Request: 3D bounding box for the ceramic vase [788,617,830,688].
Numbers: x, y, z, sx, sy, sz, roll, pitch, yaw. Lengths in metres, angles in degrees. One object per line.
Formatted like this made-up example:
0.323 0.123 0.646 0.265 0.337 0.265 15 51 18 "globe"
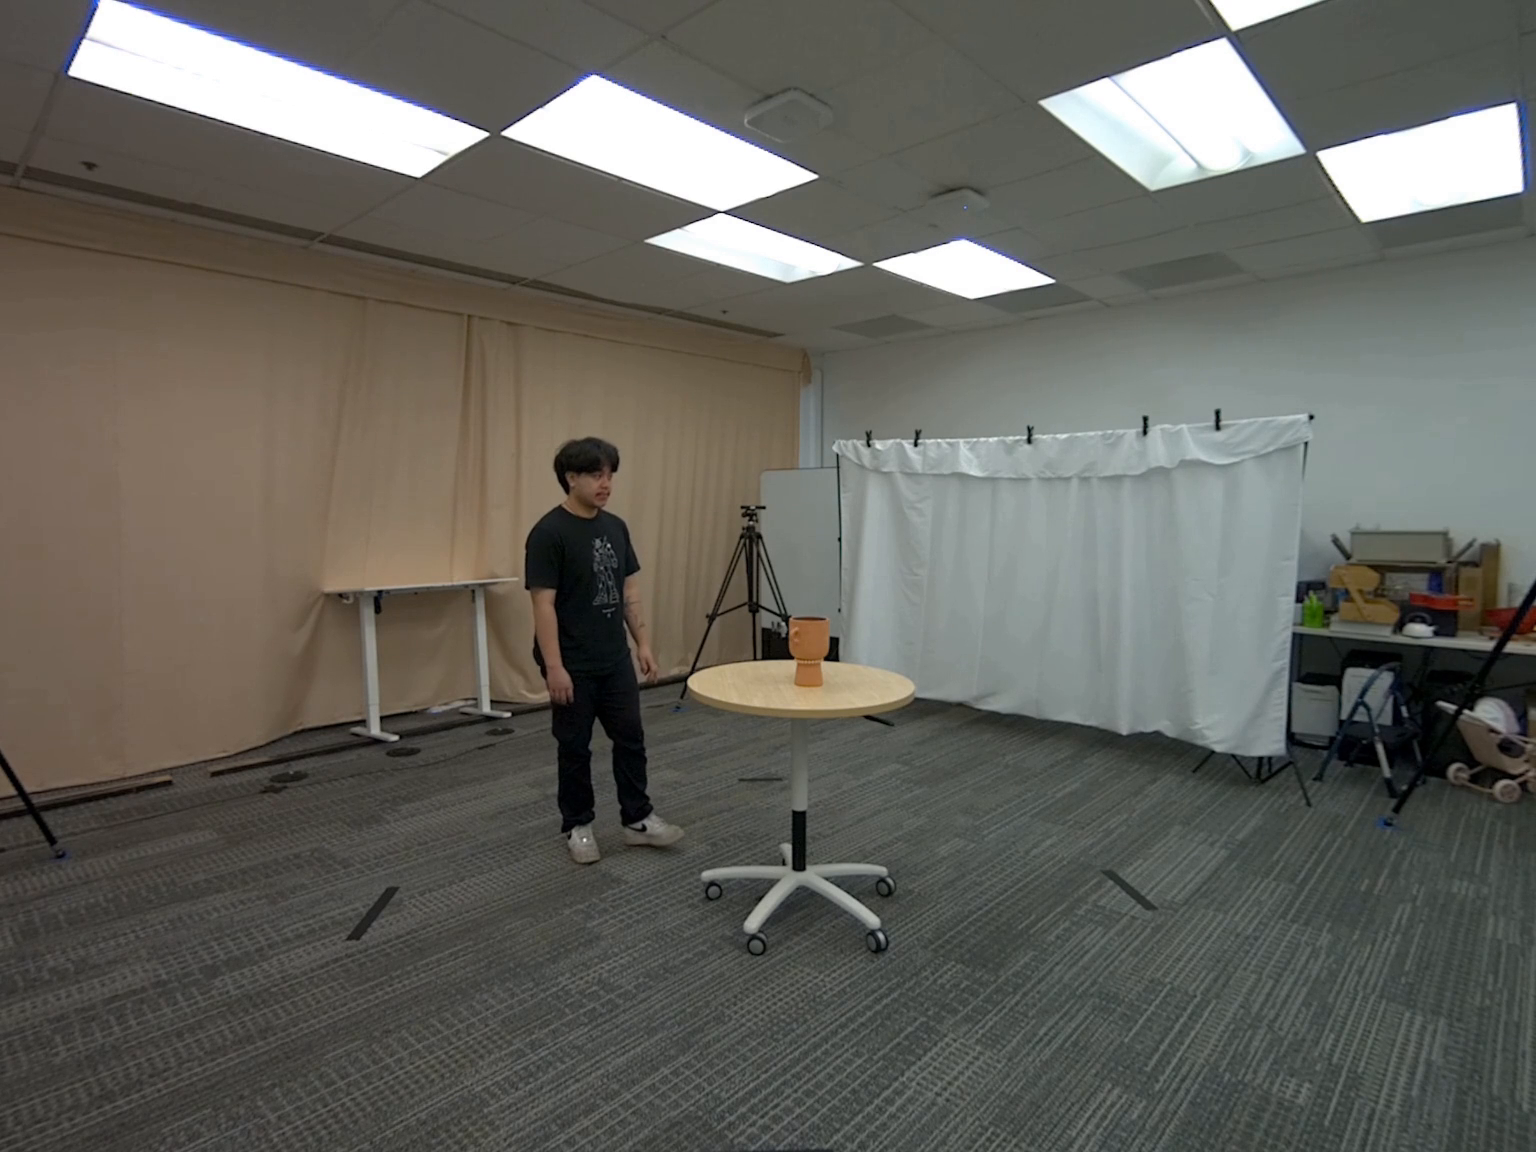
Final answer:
0.143 0.256 2.819 0.157 0.219 0.136 1 3 -8 "ceramic vase"
